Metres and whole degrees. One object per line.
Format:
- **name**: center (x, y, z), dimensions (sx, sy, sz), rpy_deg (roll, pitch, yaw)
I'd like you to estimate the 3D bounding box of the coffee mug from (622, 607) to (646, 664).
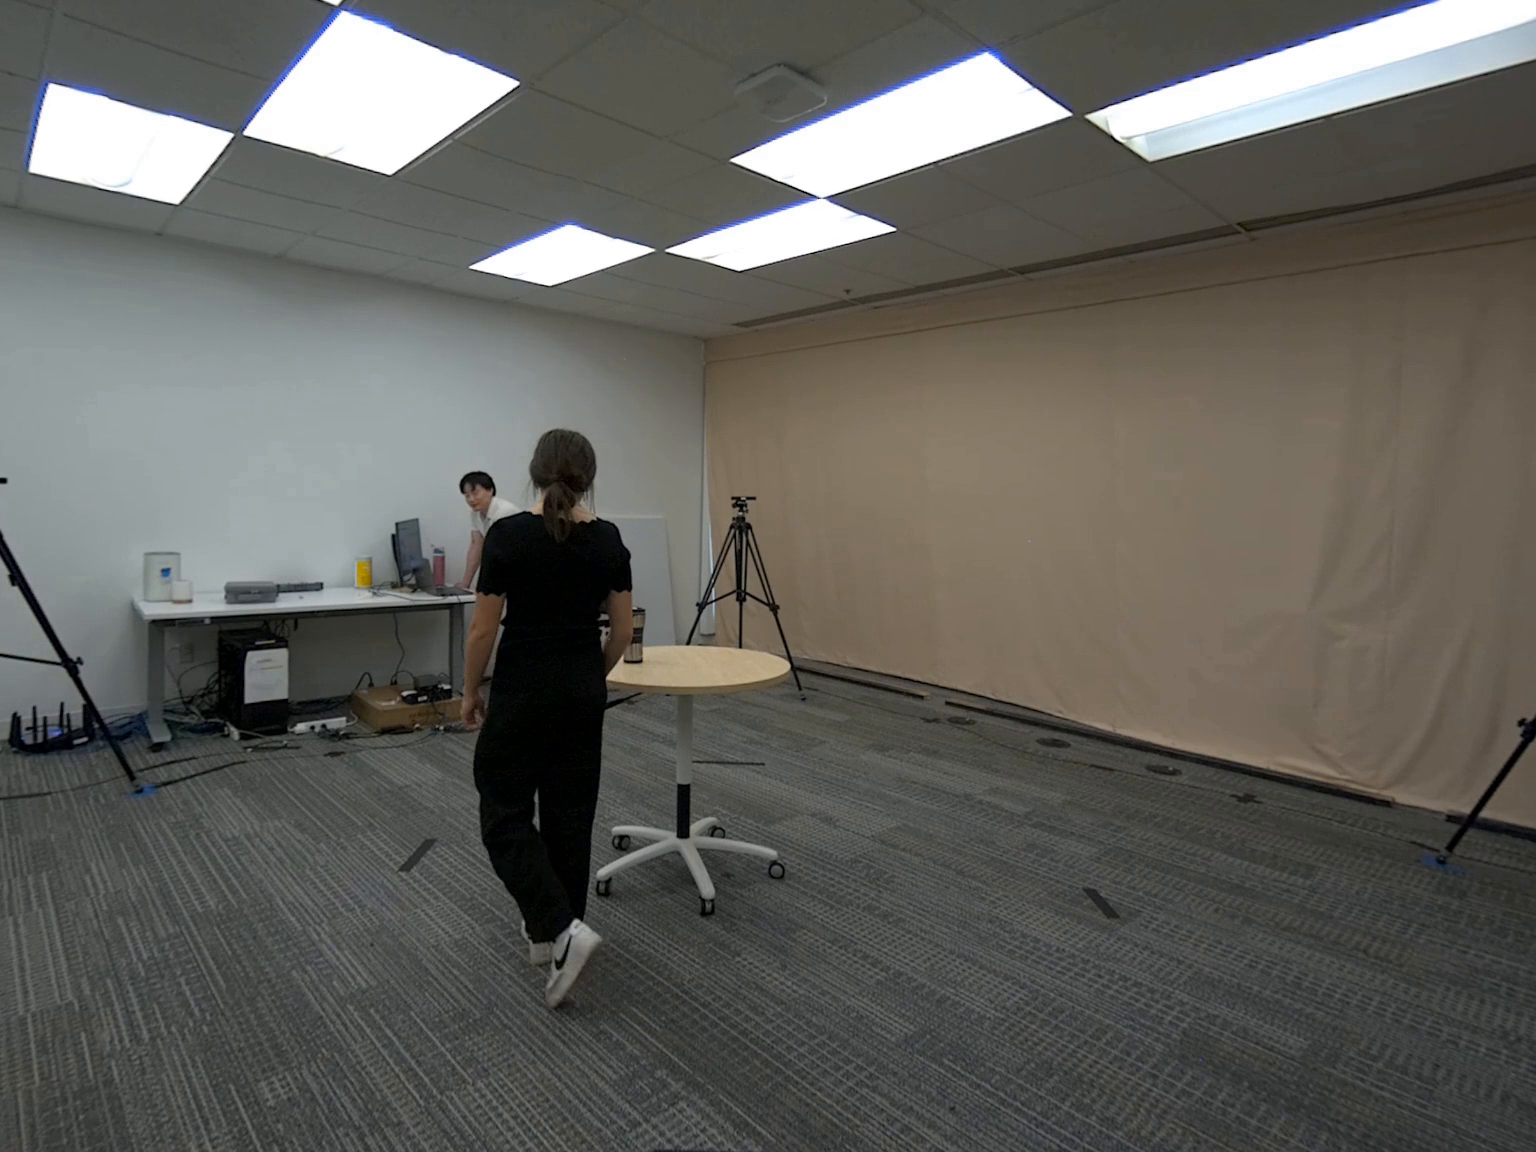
- **coffee mug**: center (-0.514, 0.219, 3.070), dimensions (0.119, 0.202, 0.090), rpy_deg (2, 8, -39)
